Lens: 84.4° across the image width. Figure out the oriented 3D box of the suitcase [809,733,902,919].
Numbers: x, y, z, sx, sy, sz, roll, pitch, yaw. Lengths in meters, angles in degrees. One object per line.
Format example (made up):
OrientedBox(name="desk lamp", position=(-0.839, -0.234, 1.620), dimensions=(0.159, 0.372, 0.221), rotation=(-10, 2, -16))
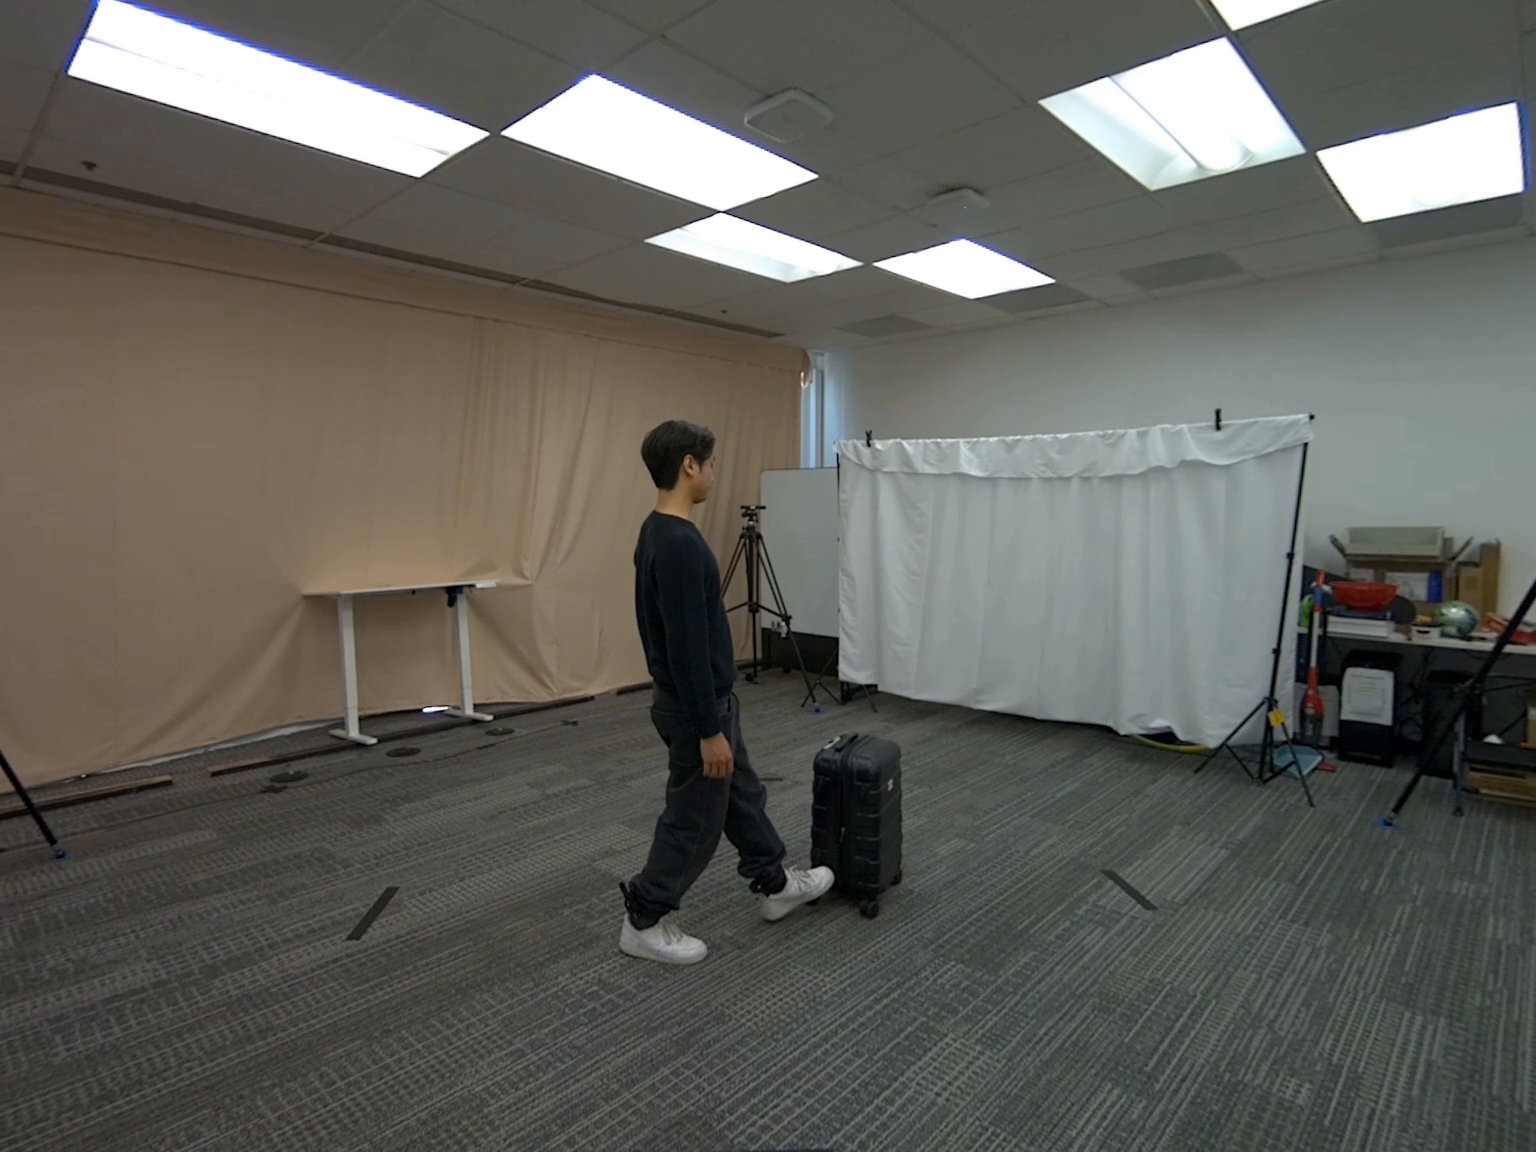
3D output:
OrientedBox(name="suitcase", position=(0.328, 0.863, 3.029), dimensions=(0.255, 0.548, 0.366), rotation=(2, 3, 25))
